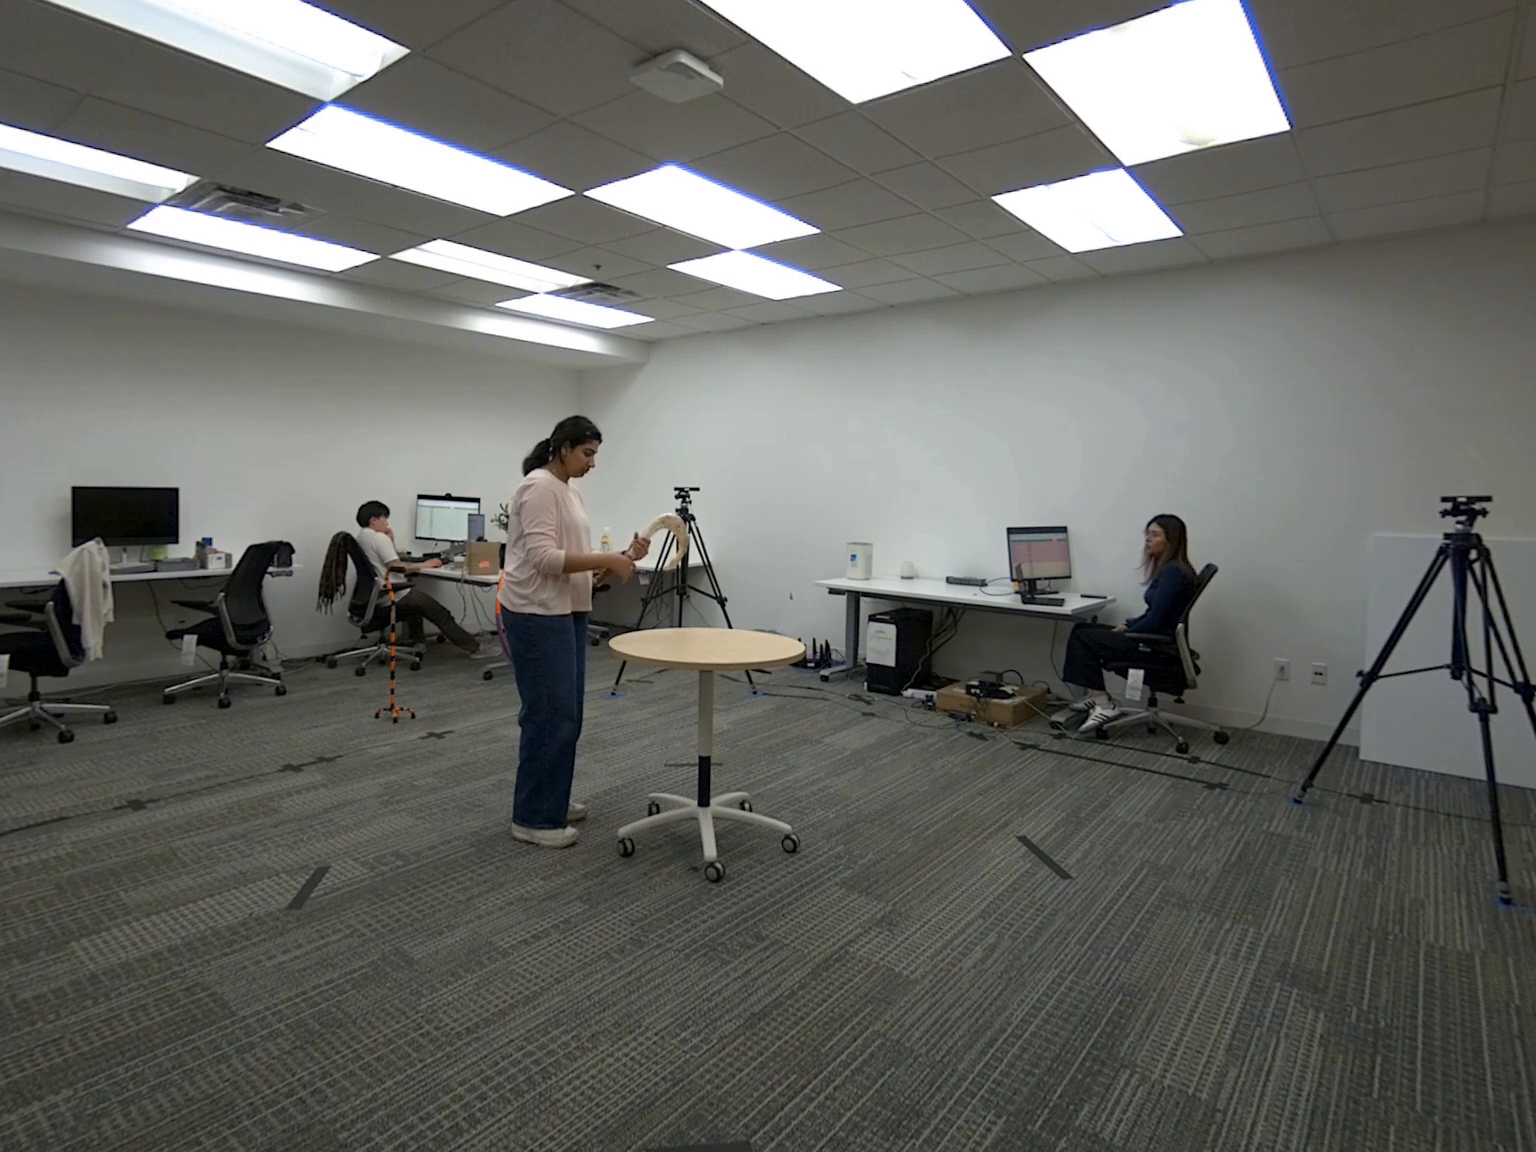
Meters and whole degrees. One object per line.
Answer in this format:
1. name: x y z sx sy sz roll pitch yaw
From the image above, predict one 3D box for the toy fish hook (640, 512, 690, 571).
1. toy fish hook: -0.528 -0.065 3.507 0.504 0.219 0.050 -40 21 -31
